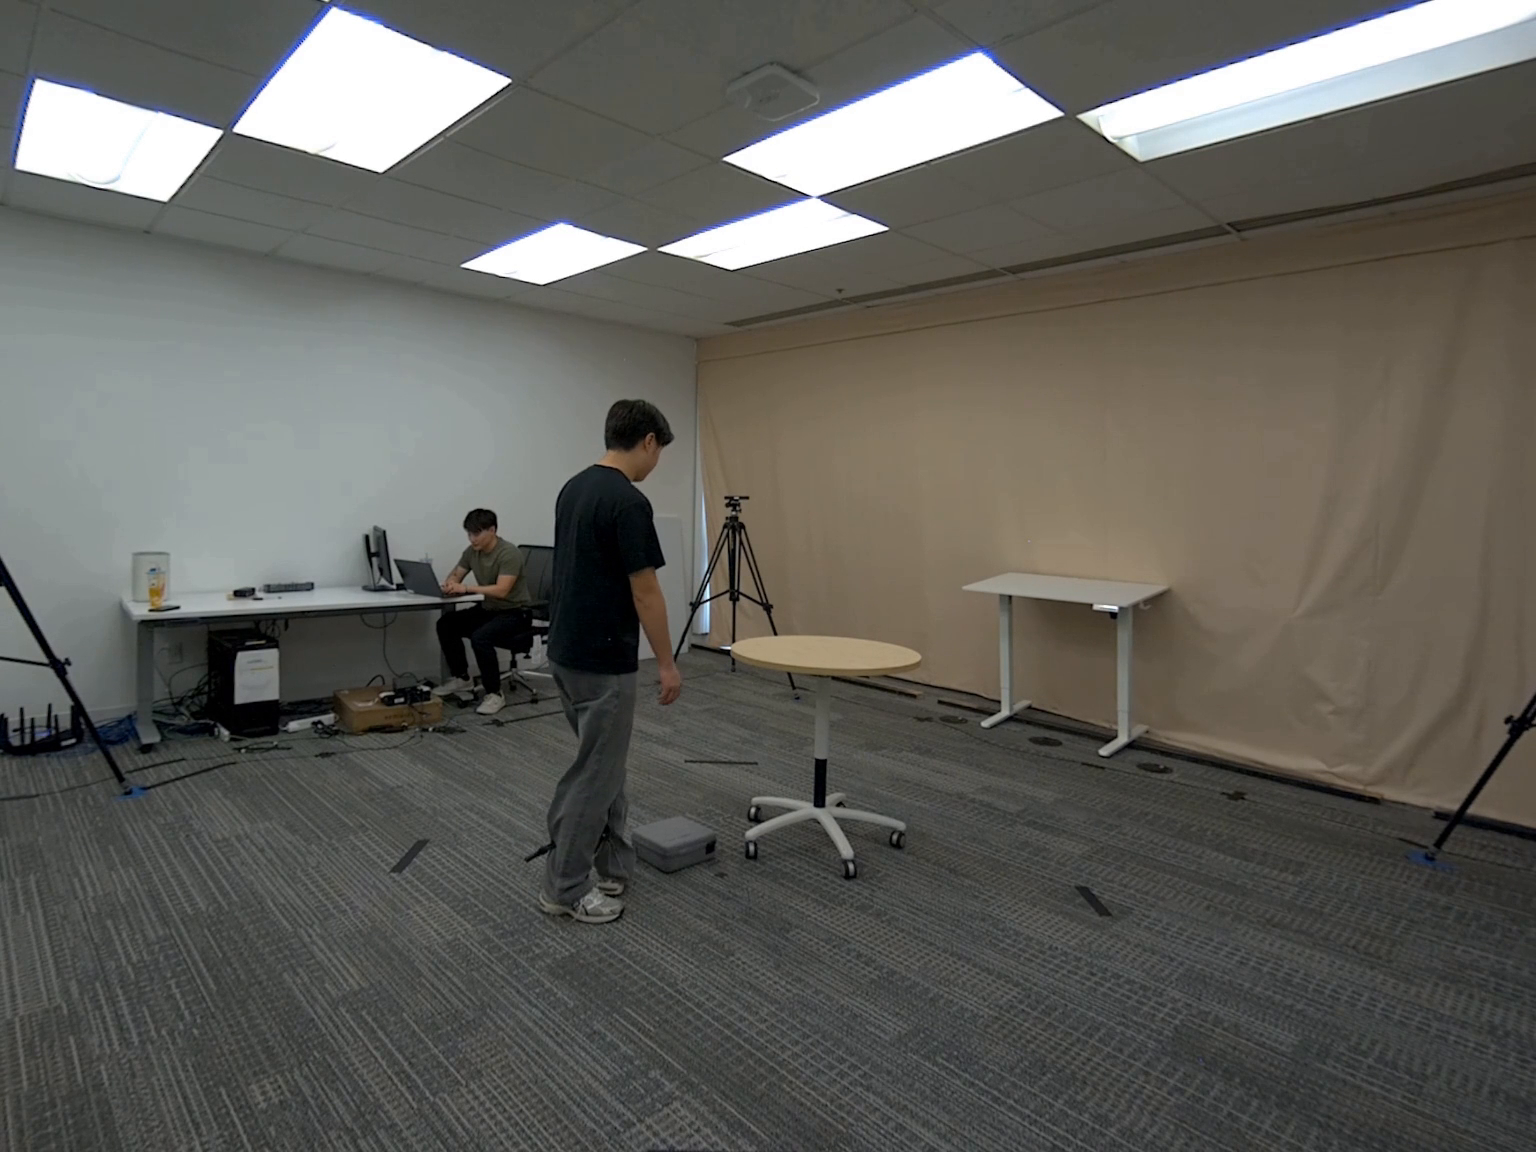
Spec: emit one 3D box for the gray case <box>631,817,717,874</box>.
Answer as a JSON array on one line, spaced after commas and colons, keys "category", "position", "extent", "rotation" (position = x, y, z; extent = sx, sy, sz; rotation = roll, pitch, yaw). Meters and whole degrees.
[{"category": "gray case", "position": [-0.380, 1.031, 3.260], "extent": [0.257, 0.103, 0.294], "rotation": [-3, 5, -42]}]
